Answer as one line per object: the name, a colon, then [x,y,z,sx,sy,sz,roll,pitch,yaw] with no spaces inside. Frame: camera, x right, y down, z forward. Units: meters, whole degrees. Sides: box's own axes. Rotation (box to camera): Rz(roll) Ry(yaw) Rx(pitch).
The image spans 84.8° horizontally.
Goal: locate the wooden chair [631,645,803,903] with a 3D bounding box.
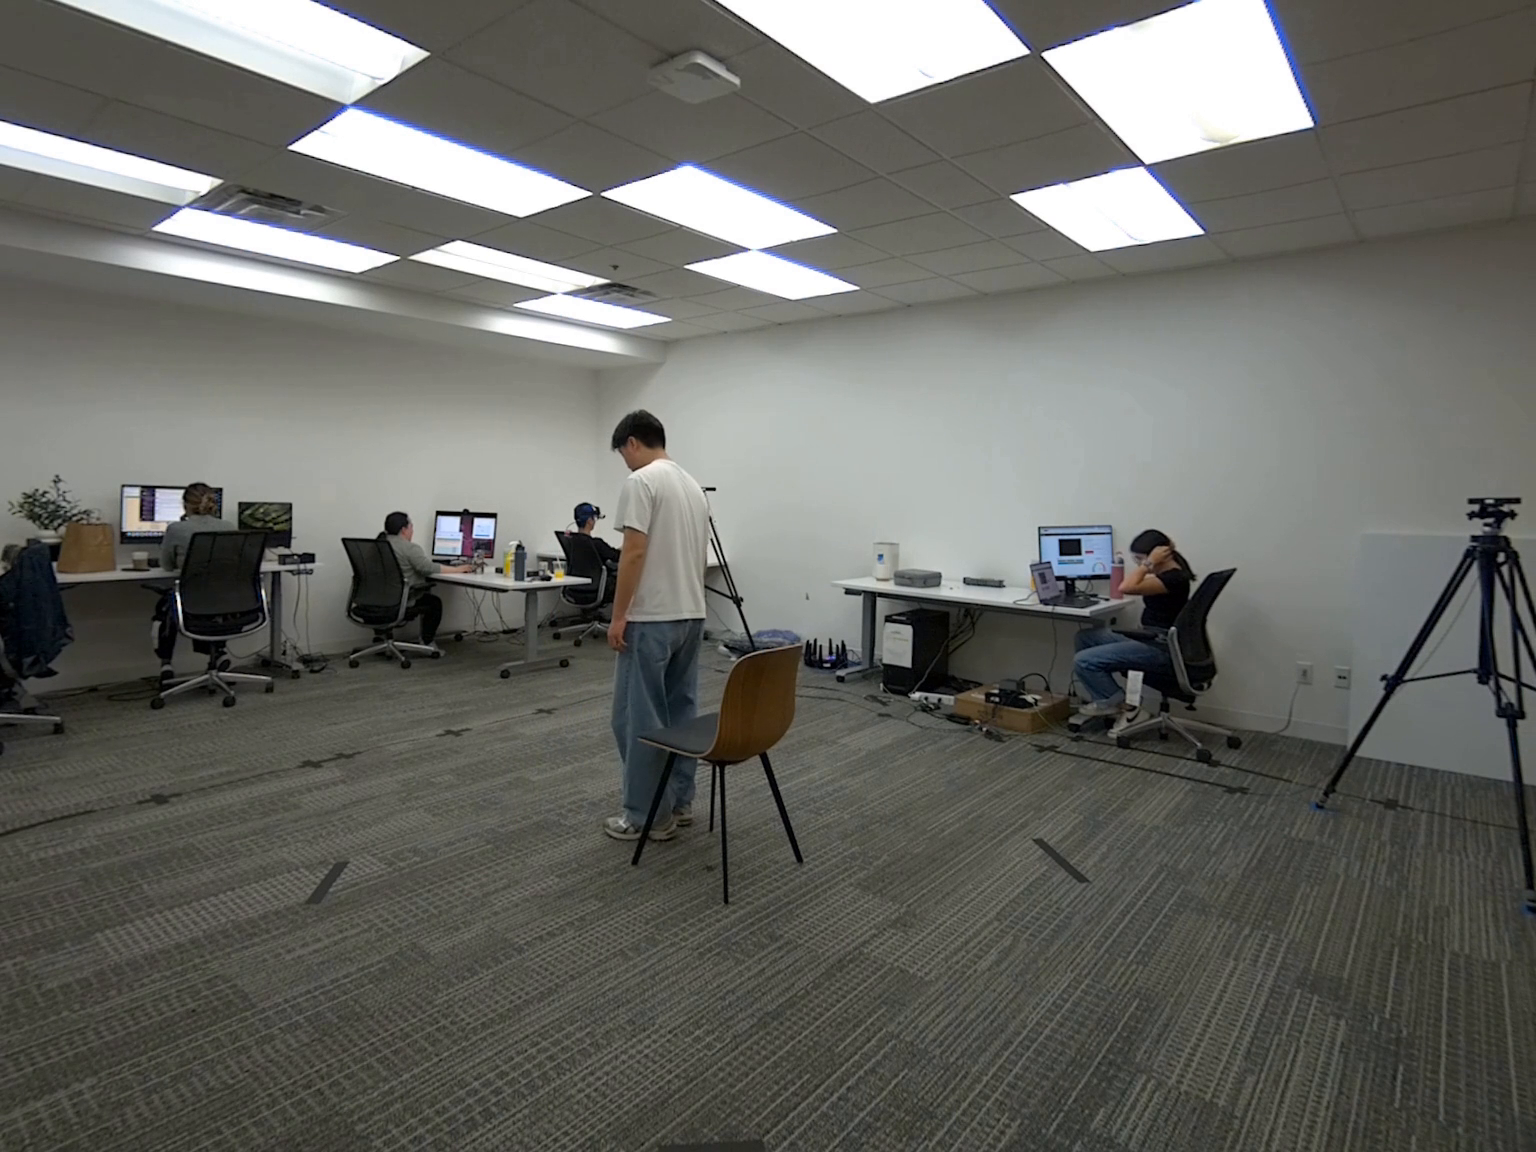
wooden chair: [-0.189,0.638,3.126,0.542,0.873,0.464,9,7,38]
